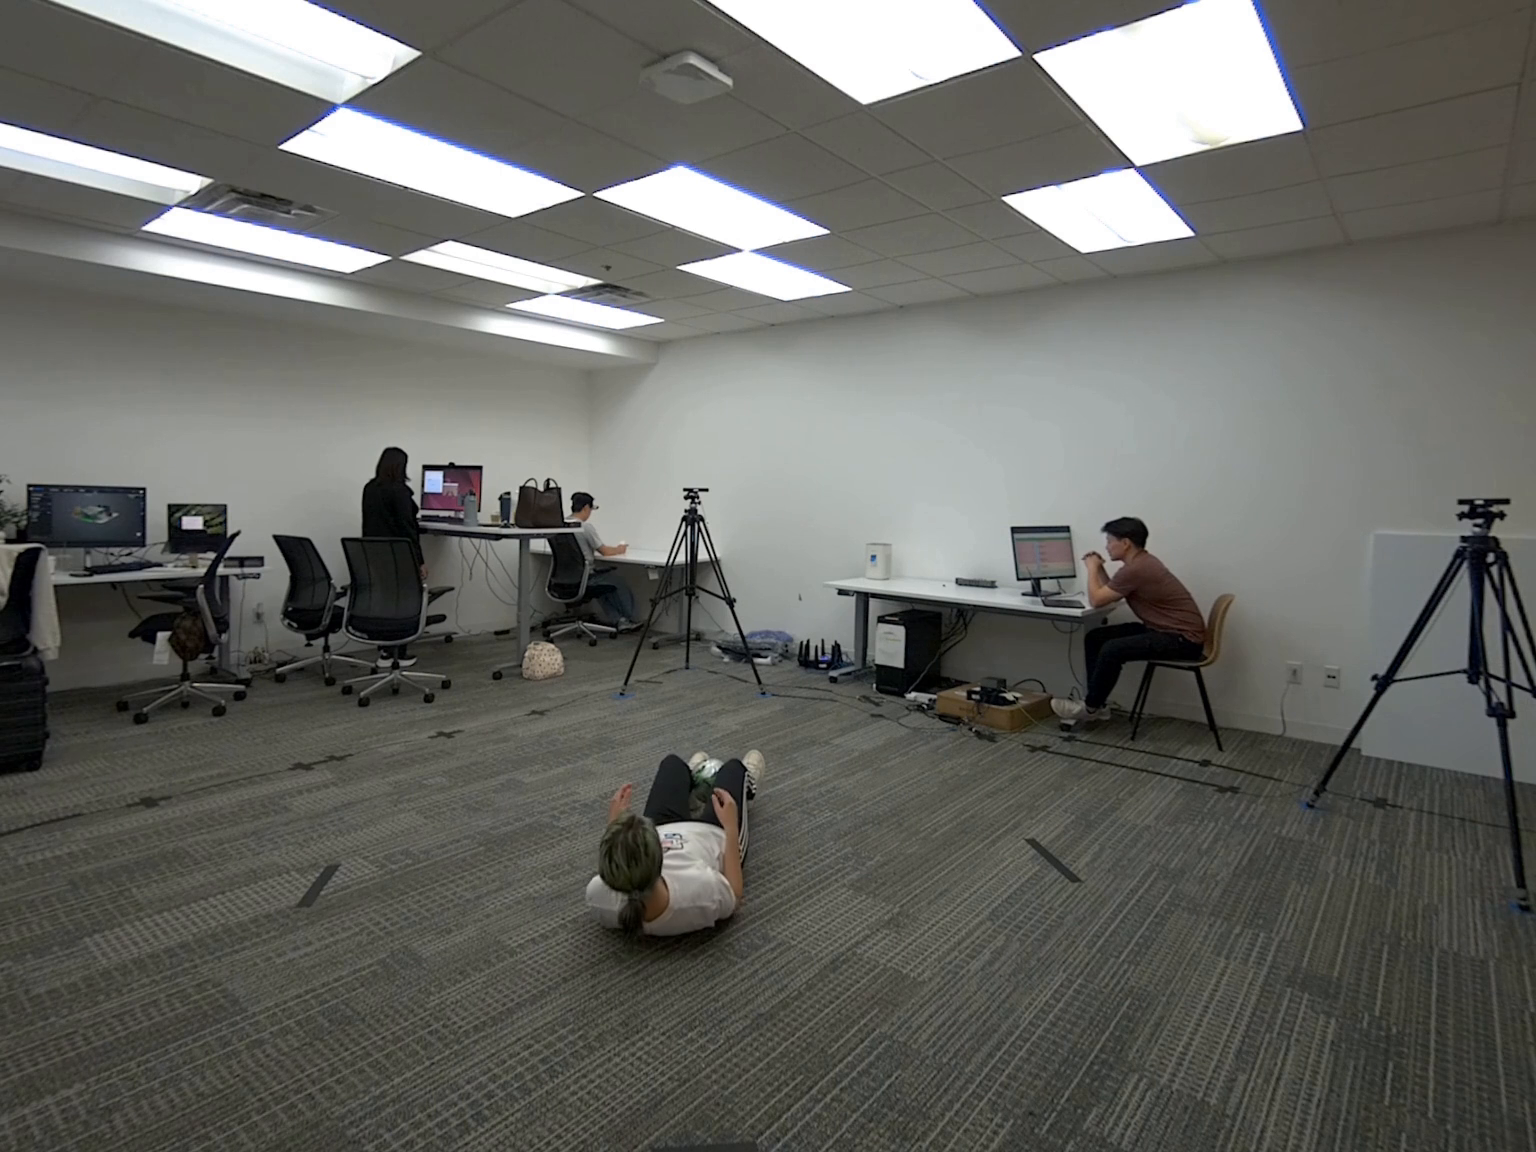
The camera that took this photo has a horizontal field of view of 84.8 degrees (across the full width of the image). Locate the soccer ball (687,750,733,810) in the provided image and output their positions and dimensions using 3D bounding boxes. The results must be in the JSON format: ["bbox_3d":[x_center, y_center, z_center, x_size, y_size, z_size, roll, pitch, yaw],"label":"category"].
[{"bbox_3d":[-0.245,0.857,3.552,0.187,0.187,0.188,1,4,-2],"label":"soccer ball"}]
